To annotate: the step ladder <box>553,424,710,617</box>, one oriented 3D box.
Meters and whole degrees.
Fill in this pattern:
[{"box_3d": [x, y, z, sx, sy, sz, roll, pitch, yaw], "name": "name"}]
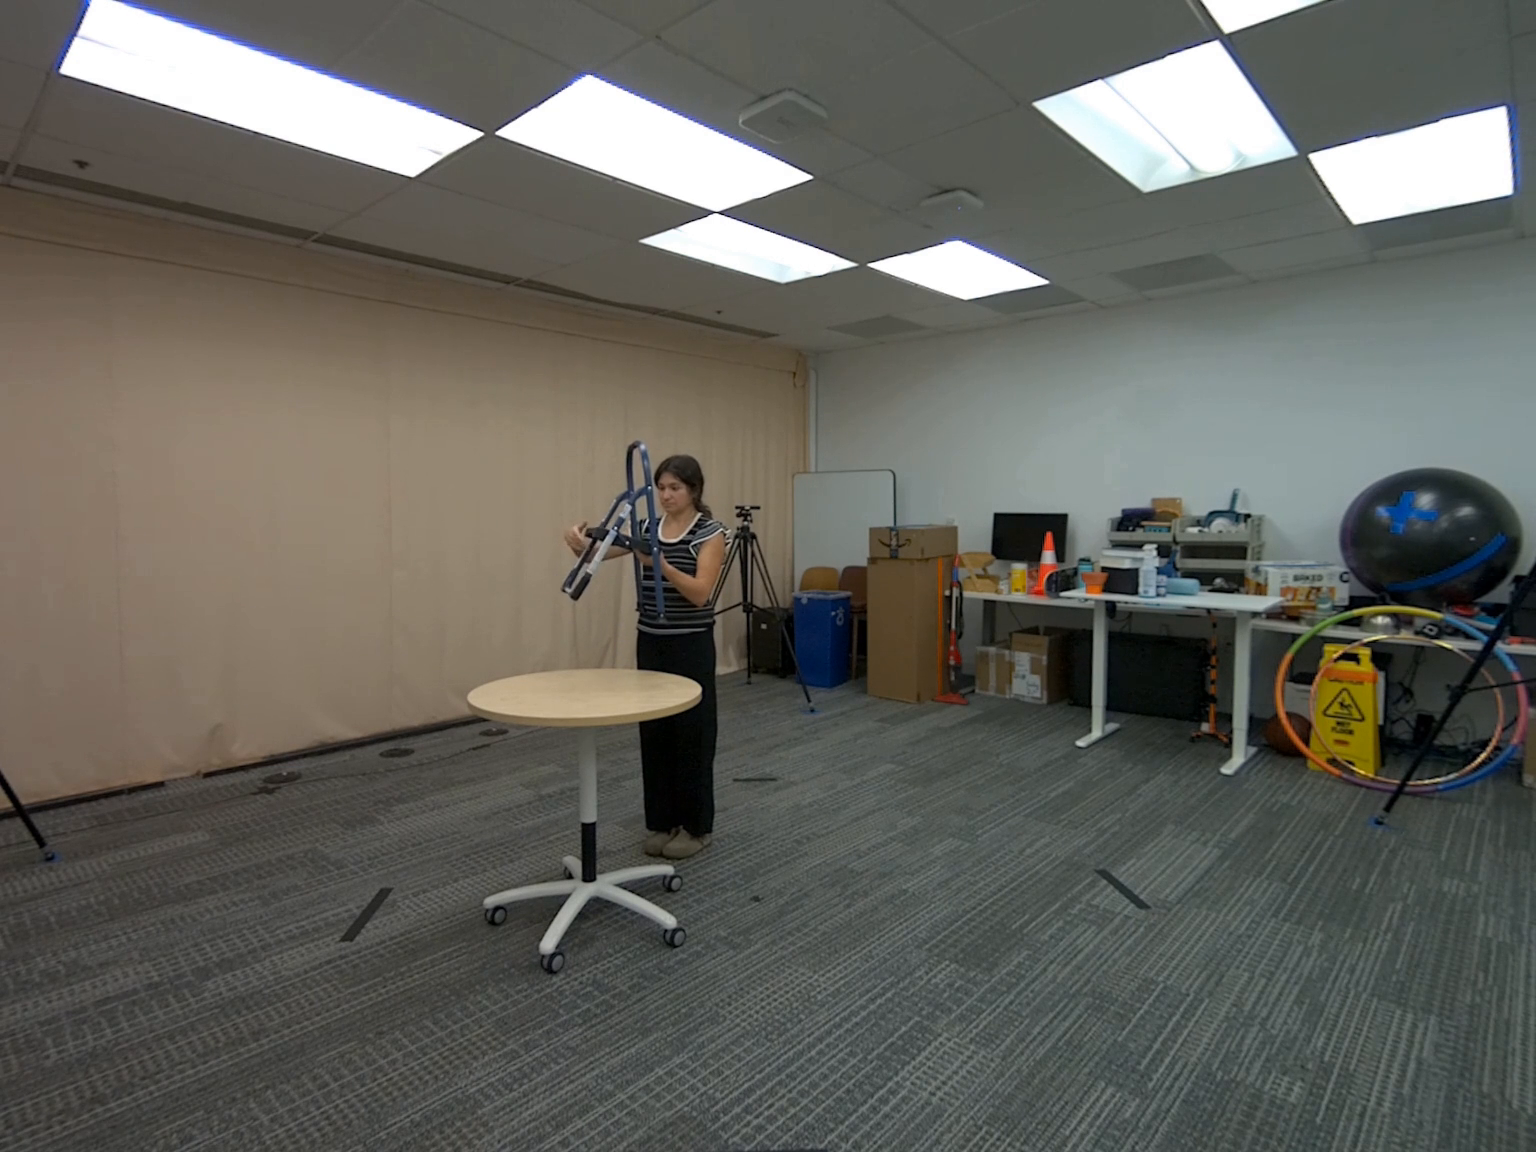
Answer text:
[{"box_3d": [-0.511, -0.186, 3.093, 0.342, 0.607, 0.439, 14, -4, -20], "name": "step ladder"}]
